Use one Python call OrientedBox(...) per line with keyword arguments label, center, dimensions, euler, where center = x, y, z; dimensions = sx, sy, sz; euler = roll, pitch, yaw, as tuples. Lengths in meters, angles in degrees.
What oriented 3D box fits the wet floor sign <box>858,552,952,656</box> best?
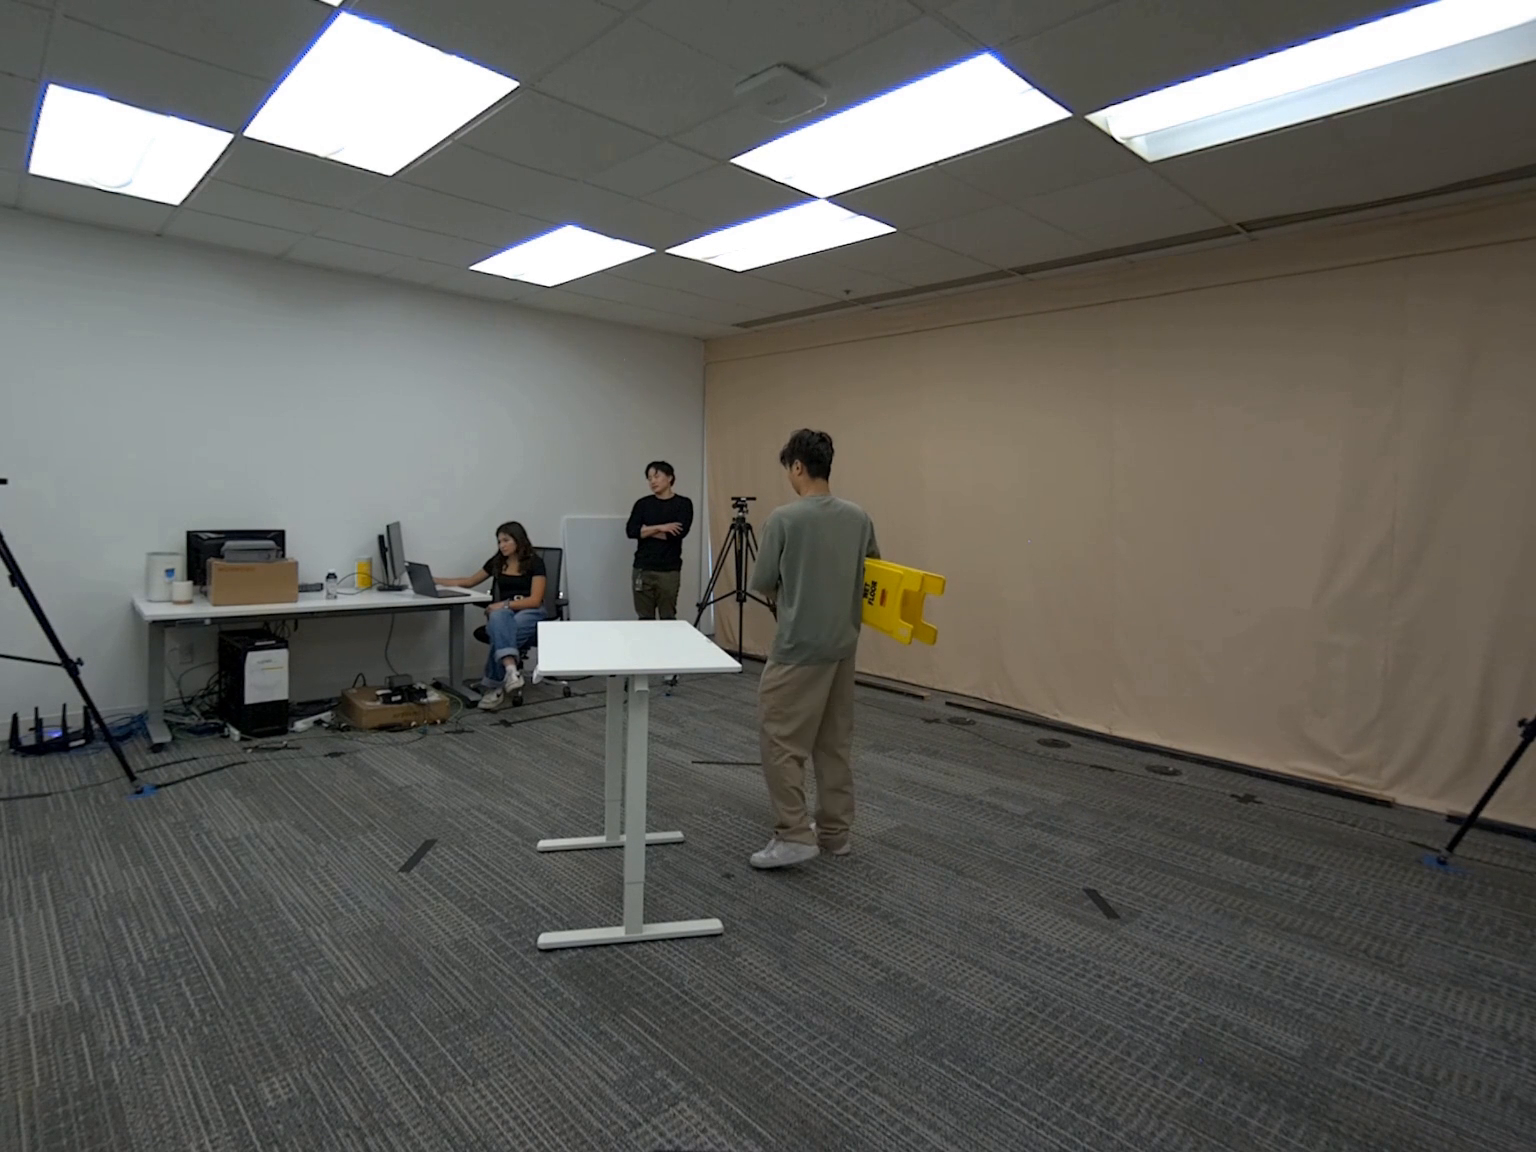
OrientedBox(label="wet floor sign", center=(0.353, 0.054, 3.381), dimensions=(0.283, 0.280, 0.666), euler=(-1, 17, -39))
